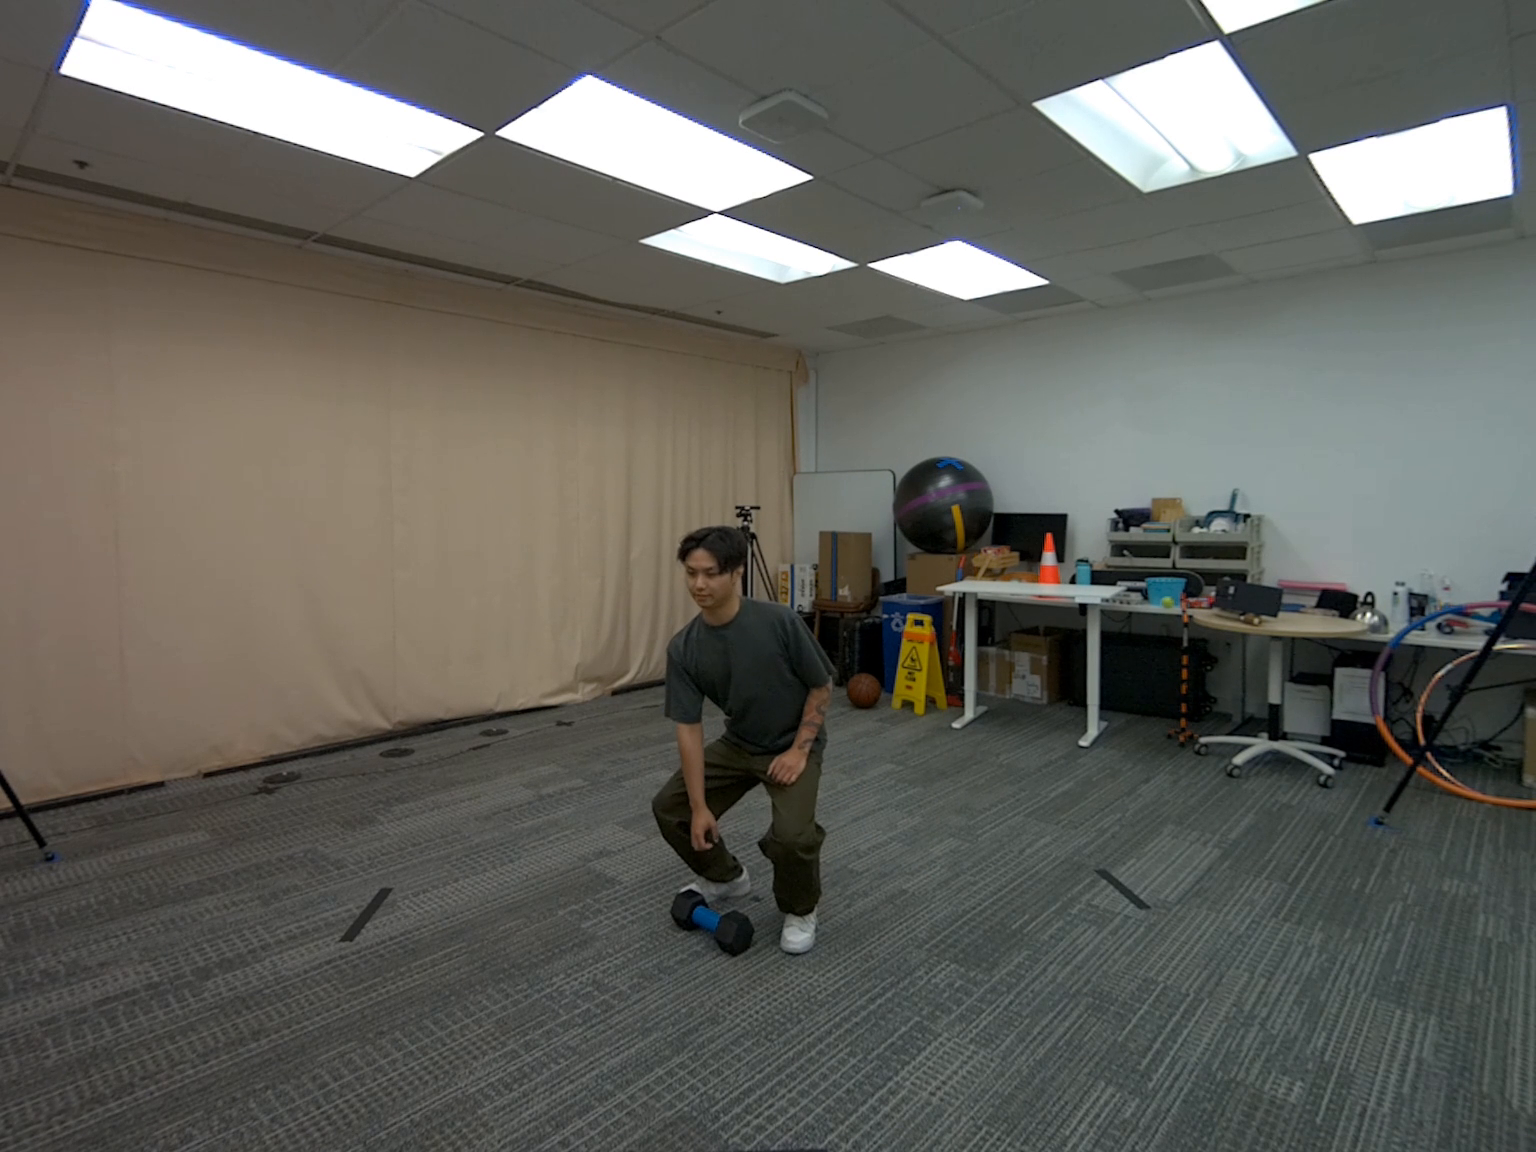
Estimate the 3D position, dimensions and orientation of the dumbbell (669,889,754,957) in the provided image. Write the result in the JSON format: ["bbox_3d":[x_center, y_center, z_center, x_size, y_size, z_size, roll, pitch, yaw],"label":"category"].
[{"bbox_3d":[-0.184,1.111,2.723,0.303,0.120,0.107,6,37,45],"label":"dumbbell"}]
